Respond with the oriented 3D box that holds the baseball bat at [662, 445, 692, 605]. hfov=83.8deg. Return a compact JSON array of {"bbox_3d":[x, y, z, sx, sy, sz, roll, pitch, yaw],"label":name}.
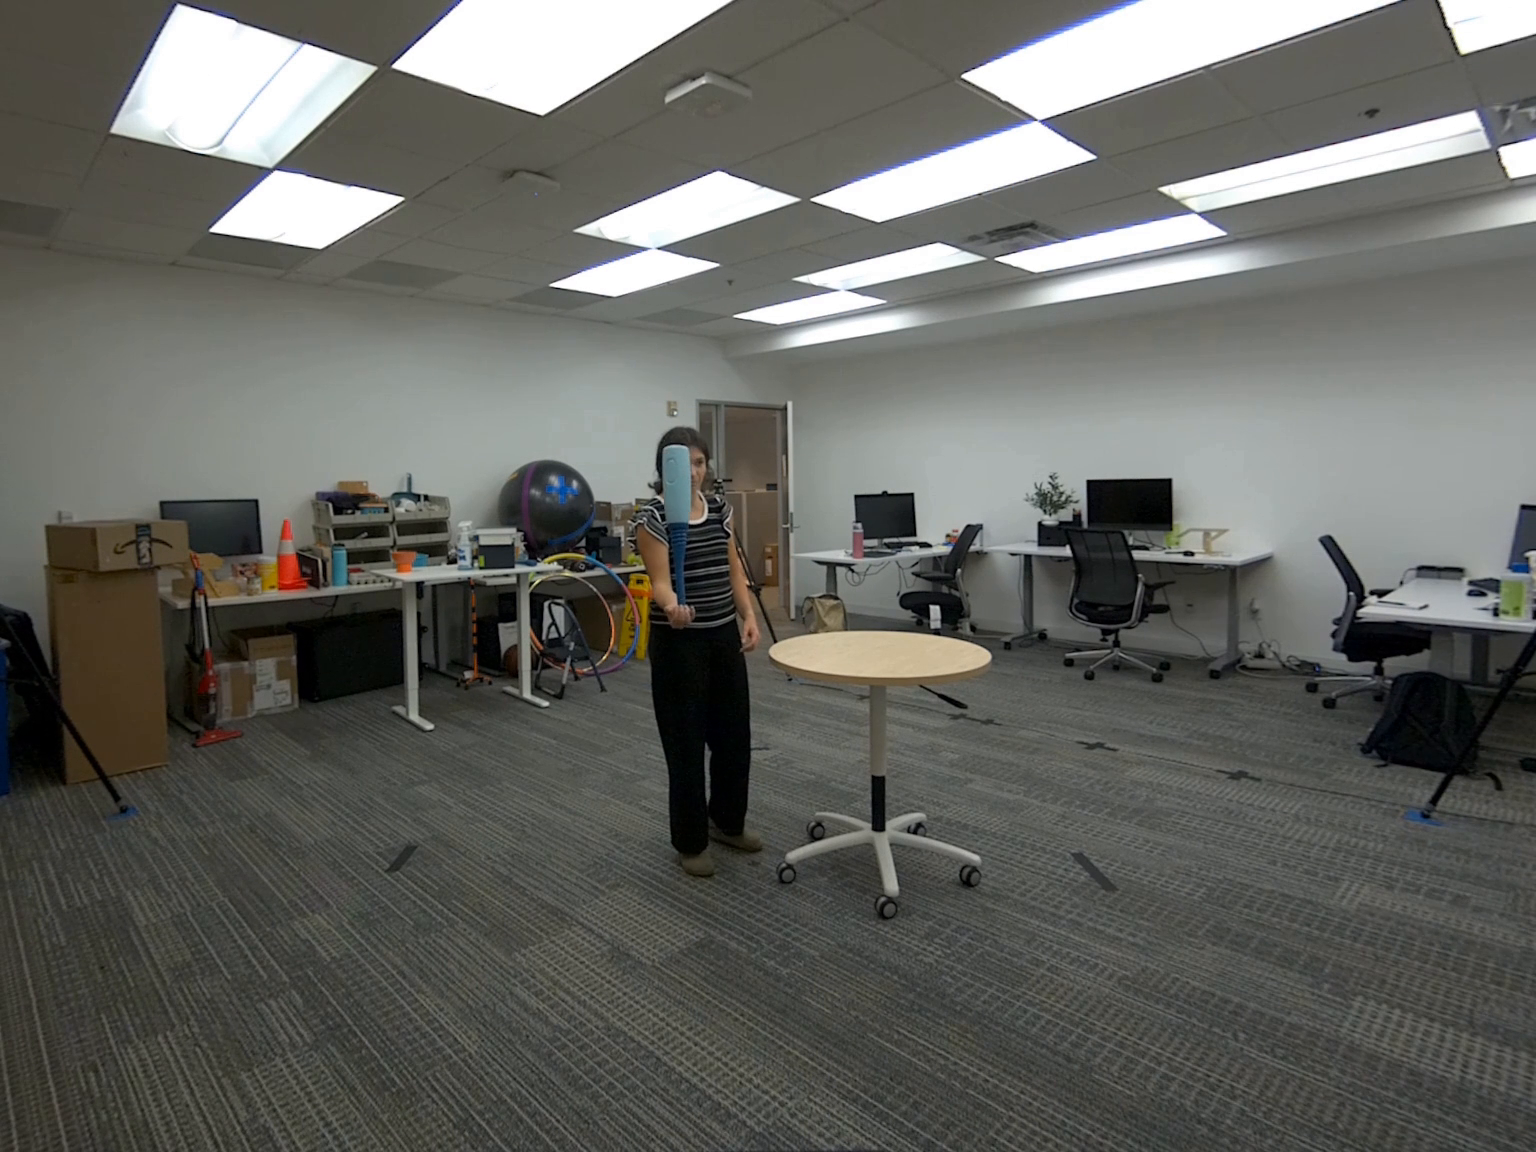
[{"bbox_3d":[-0.285,-0.140,2.687,0.089,0.547,0.088,-3,-8,-2],"label":"baseball bat"}]
